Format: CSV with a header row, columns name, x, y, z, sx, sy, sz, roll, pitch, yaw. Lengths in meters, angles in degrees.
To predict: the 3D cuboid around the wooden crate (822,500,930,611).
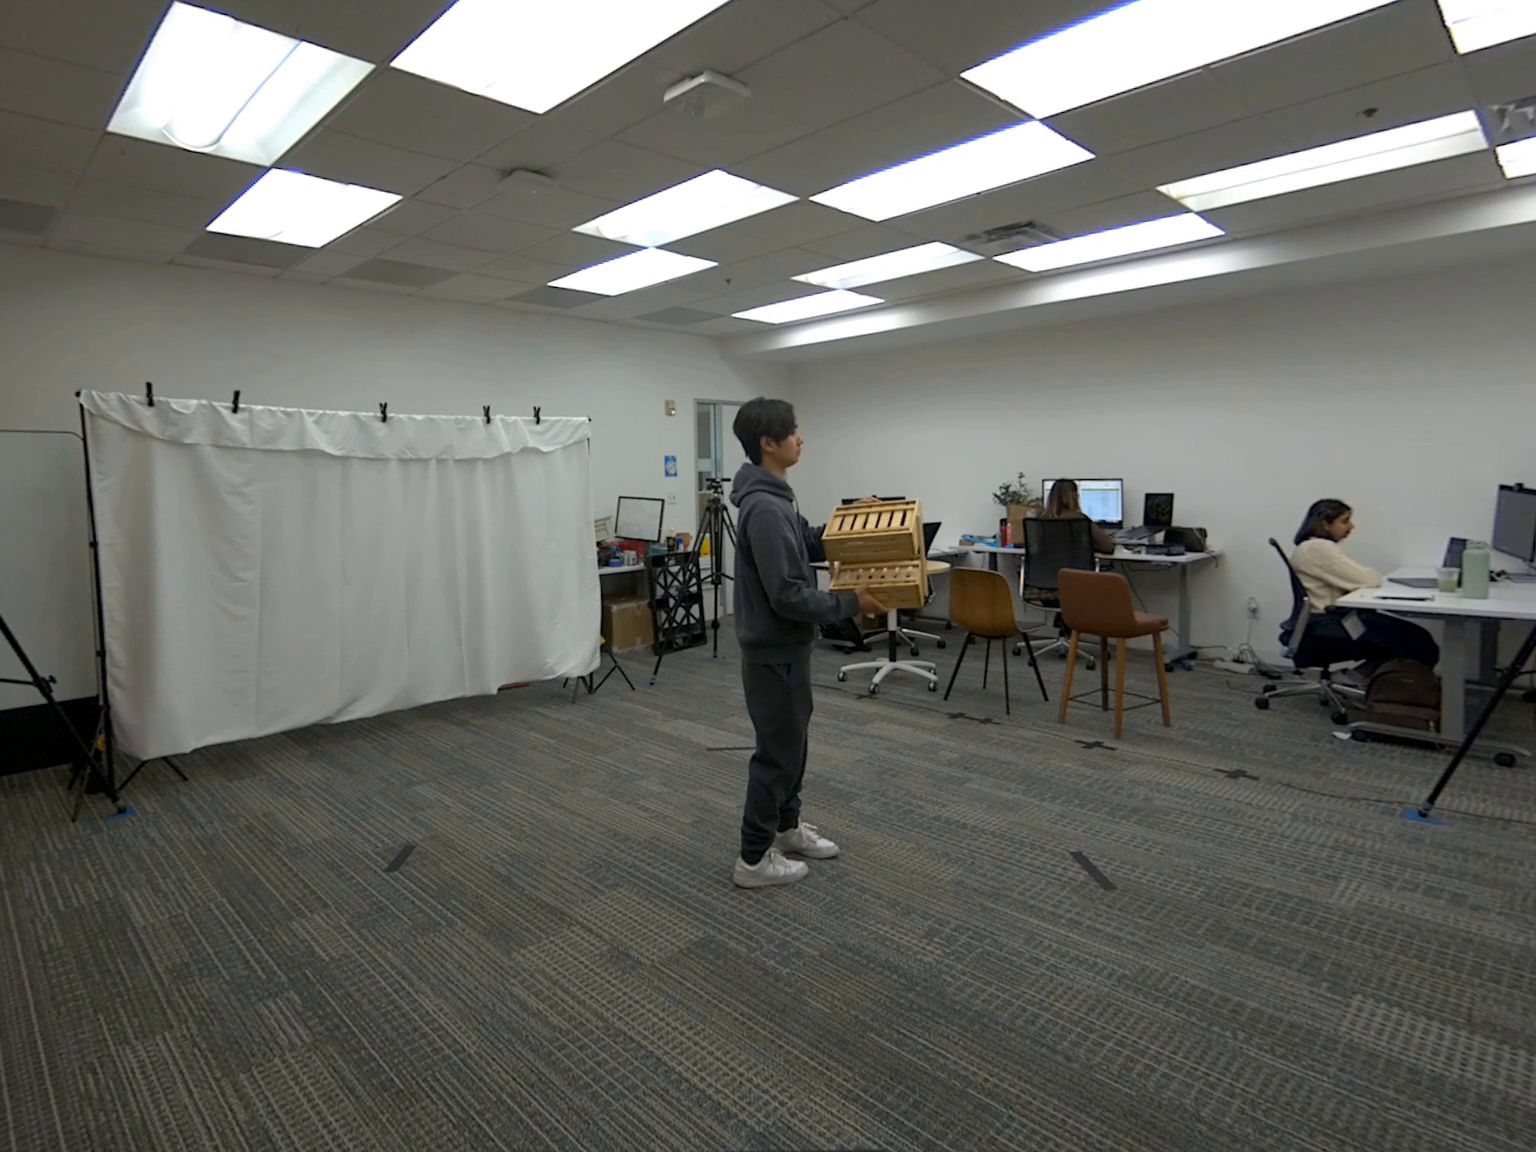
name,x,y,z,sx,sy,sz,roll,pitch,yaw
wooden crate,0.375,-0.074,2.941,0.331,0.266,0.305,-4,31,22
